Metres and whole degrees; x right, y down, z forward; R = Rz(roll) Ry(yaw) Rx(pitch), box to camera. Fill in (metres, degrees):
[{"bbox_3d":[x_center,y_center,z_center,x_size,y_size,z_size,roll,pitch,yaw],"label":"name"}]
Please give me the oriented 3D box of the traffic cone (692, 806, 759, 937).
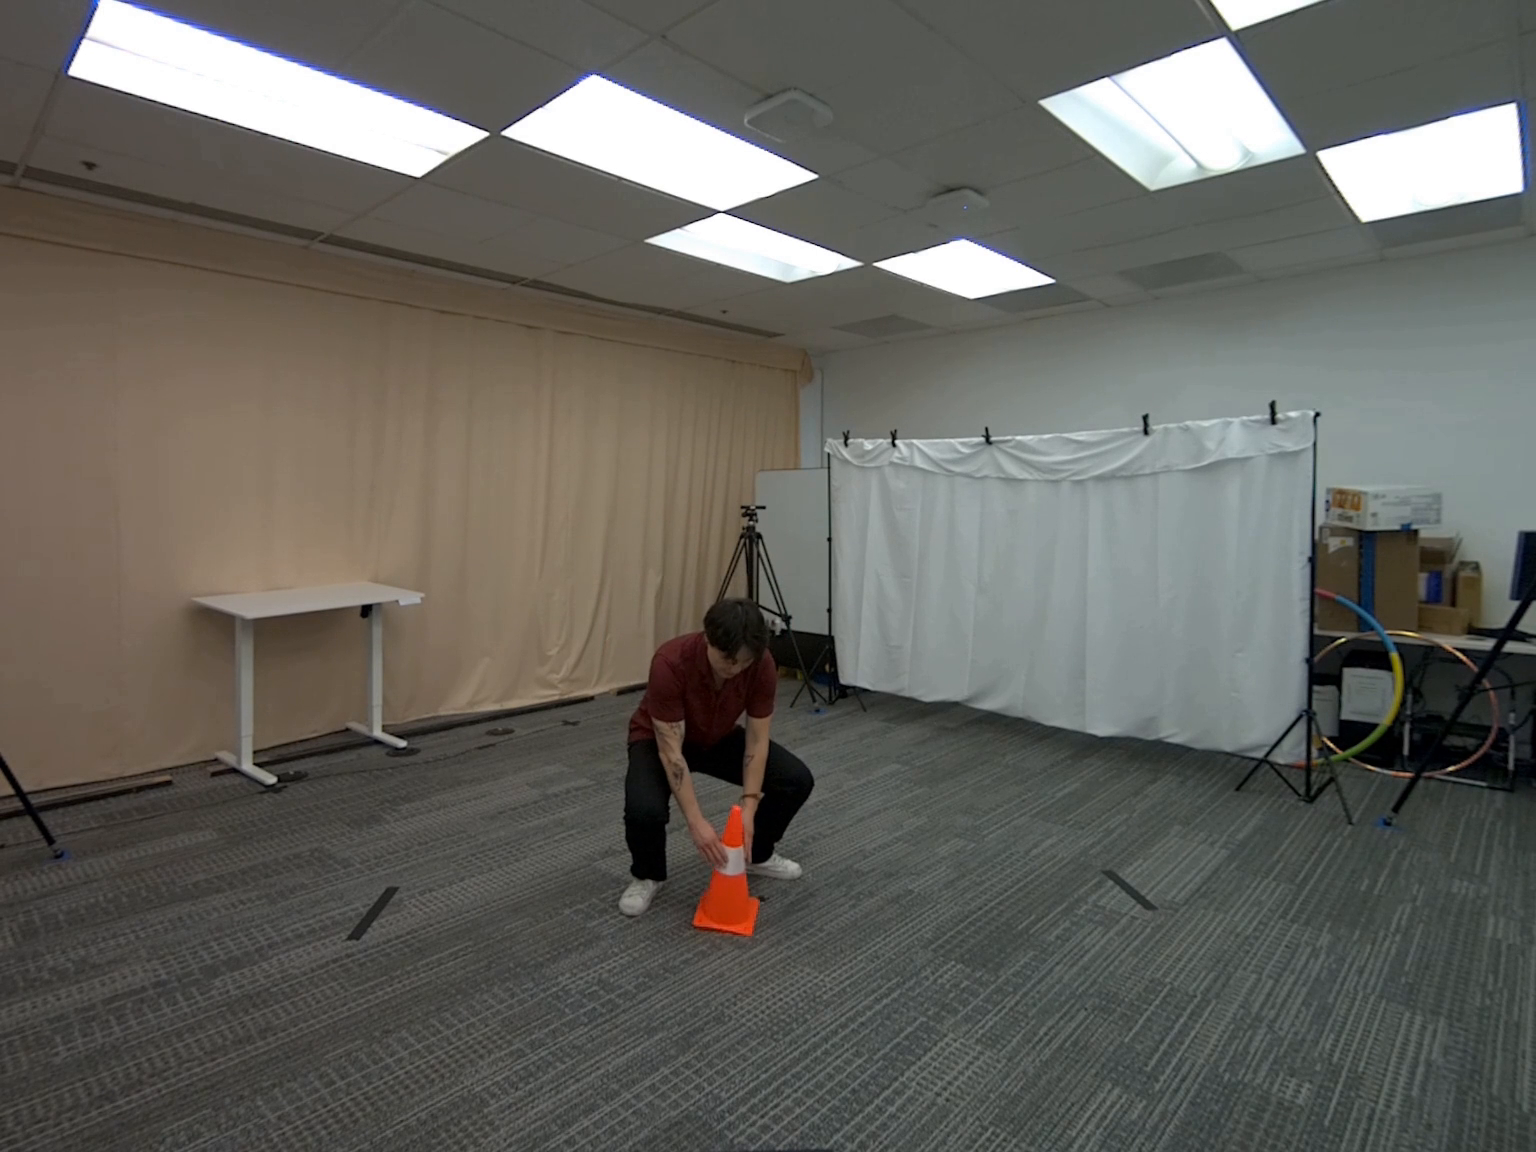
[{"bbox_3d":[-0.127,0.935,2.792,0.206,0.381,0.204,7,10,9],"label":"traffic cone"}]
